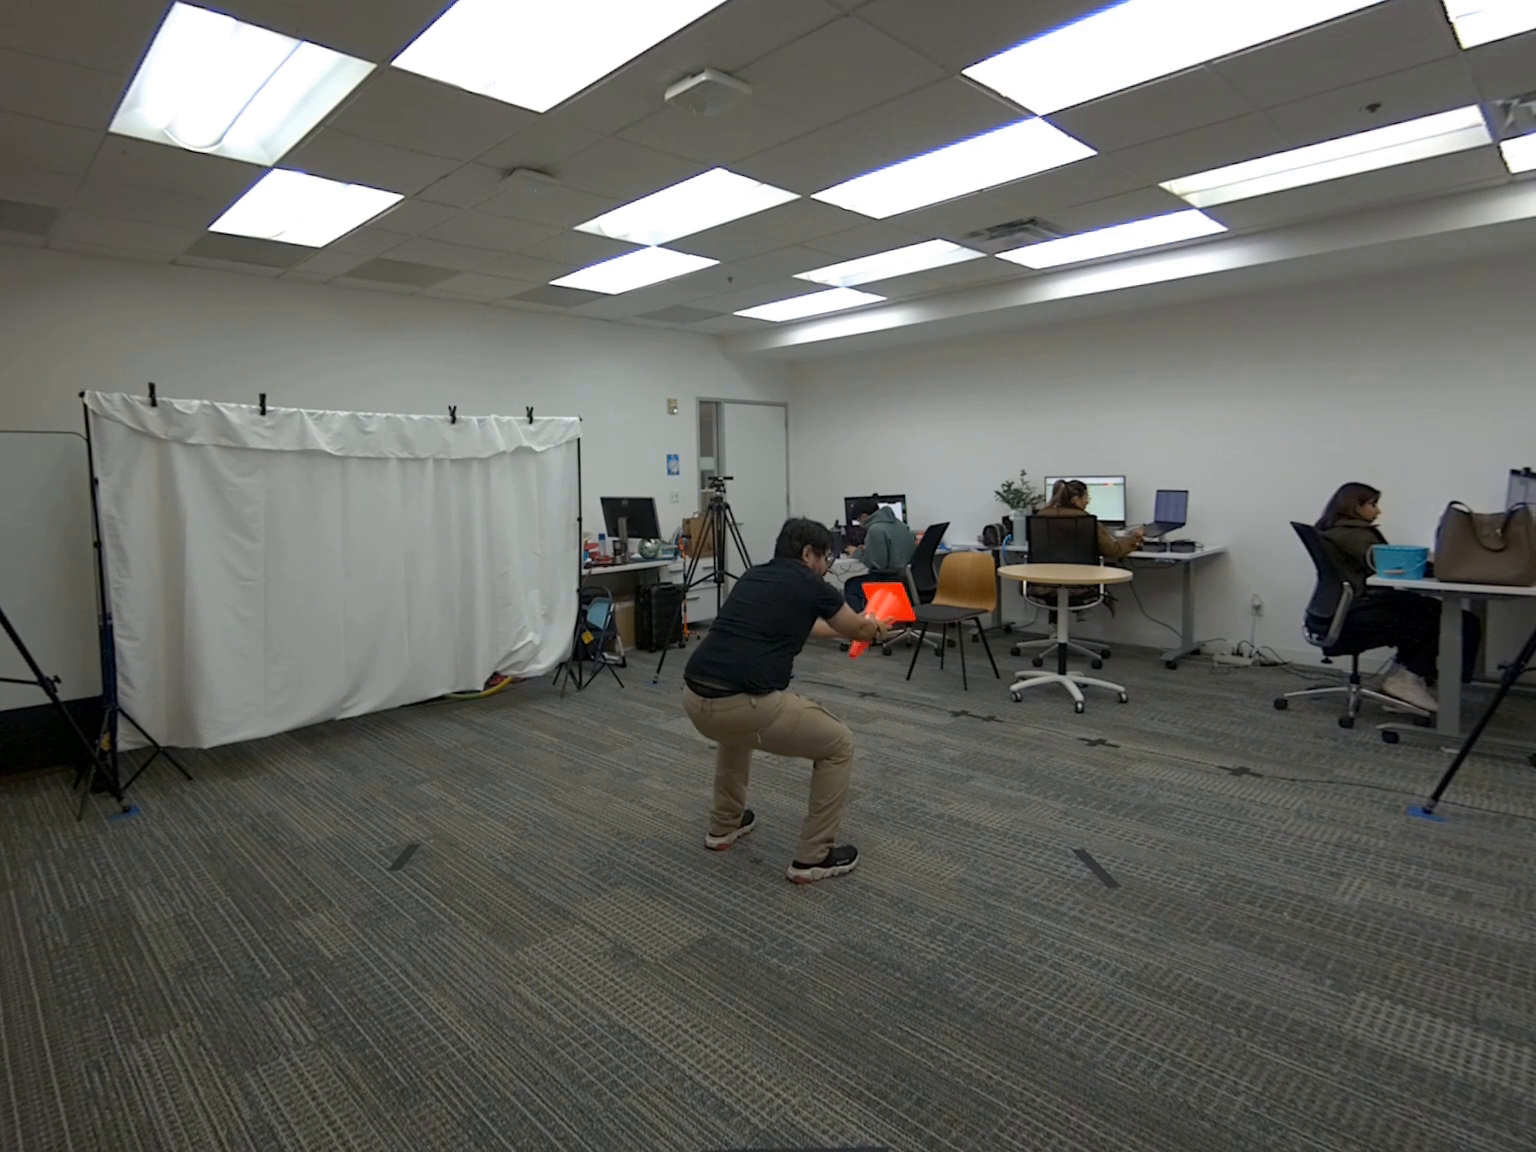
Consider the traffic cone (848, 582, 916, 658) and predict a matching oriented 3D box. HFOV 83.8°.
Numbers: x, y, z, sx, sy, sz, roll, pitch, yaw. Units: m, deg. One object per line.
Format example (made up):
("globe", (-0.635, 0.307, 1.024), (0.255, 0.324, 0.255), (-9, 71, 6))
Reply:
("traffic cone", (0.426, 0.212, 3.552), (0.210, 0.198, 0.383), (-4, 29, 39))
